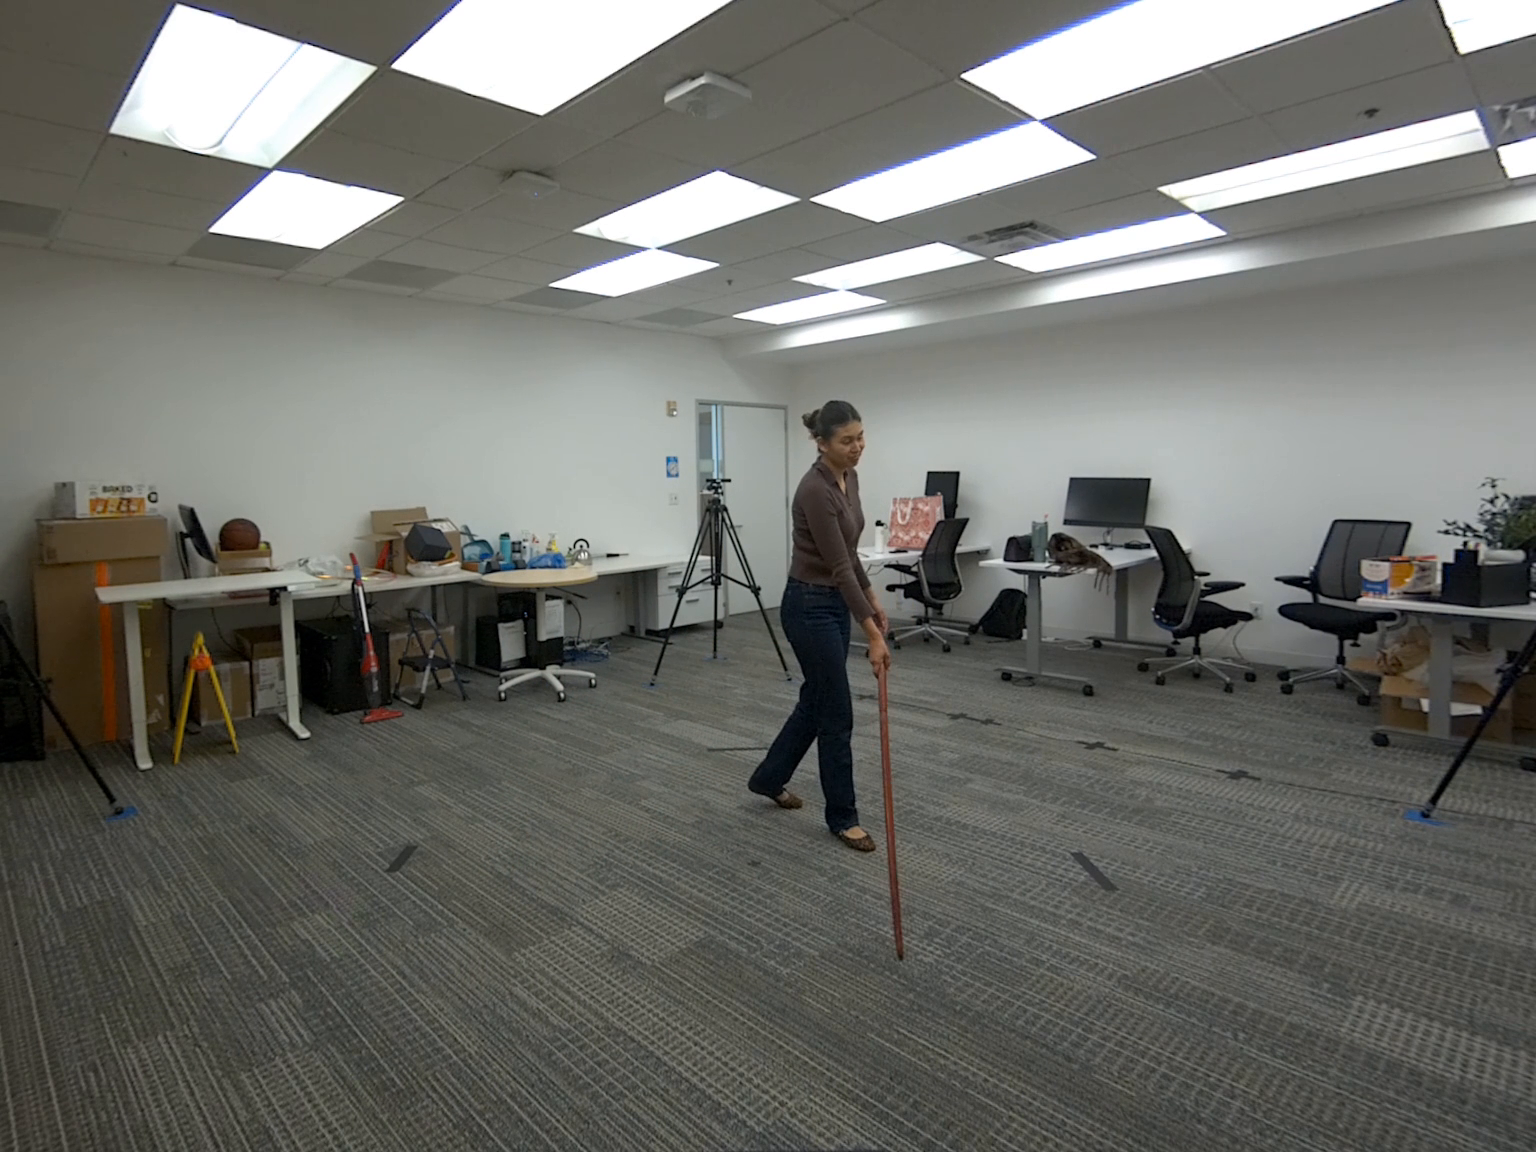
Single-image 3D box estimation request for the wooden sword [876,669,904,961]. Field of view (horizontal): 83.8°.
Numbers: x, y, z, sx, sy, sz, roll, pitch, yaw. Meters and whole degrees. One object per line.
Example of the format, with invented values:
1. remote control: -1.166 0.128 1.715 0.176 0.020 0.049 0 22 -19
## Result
1. wooden sword: 0.381 0.687 2.755 0.052 1.052 0.023 -16 -38 20
